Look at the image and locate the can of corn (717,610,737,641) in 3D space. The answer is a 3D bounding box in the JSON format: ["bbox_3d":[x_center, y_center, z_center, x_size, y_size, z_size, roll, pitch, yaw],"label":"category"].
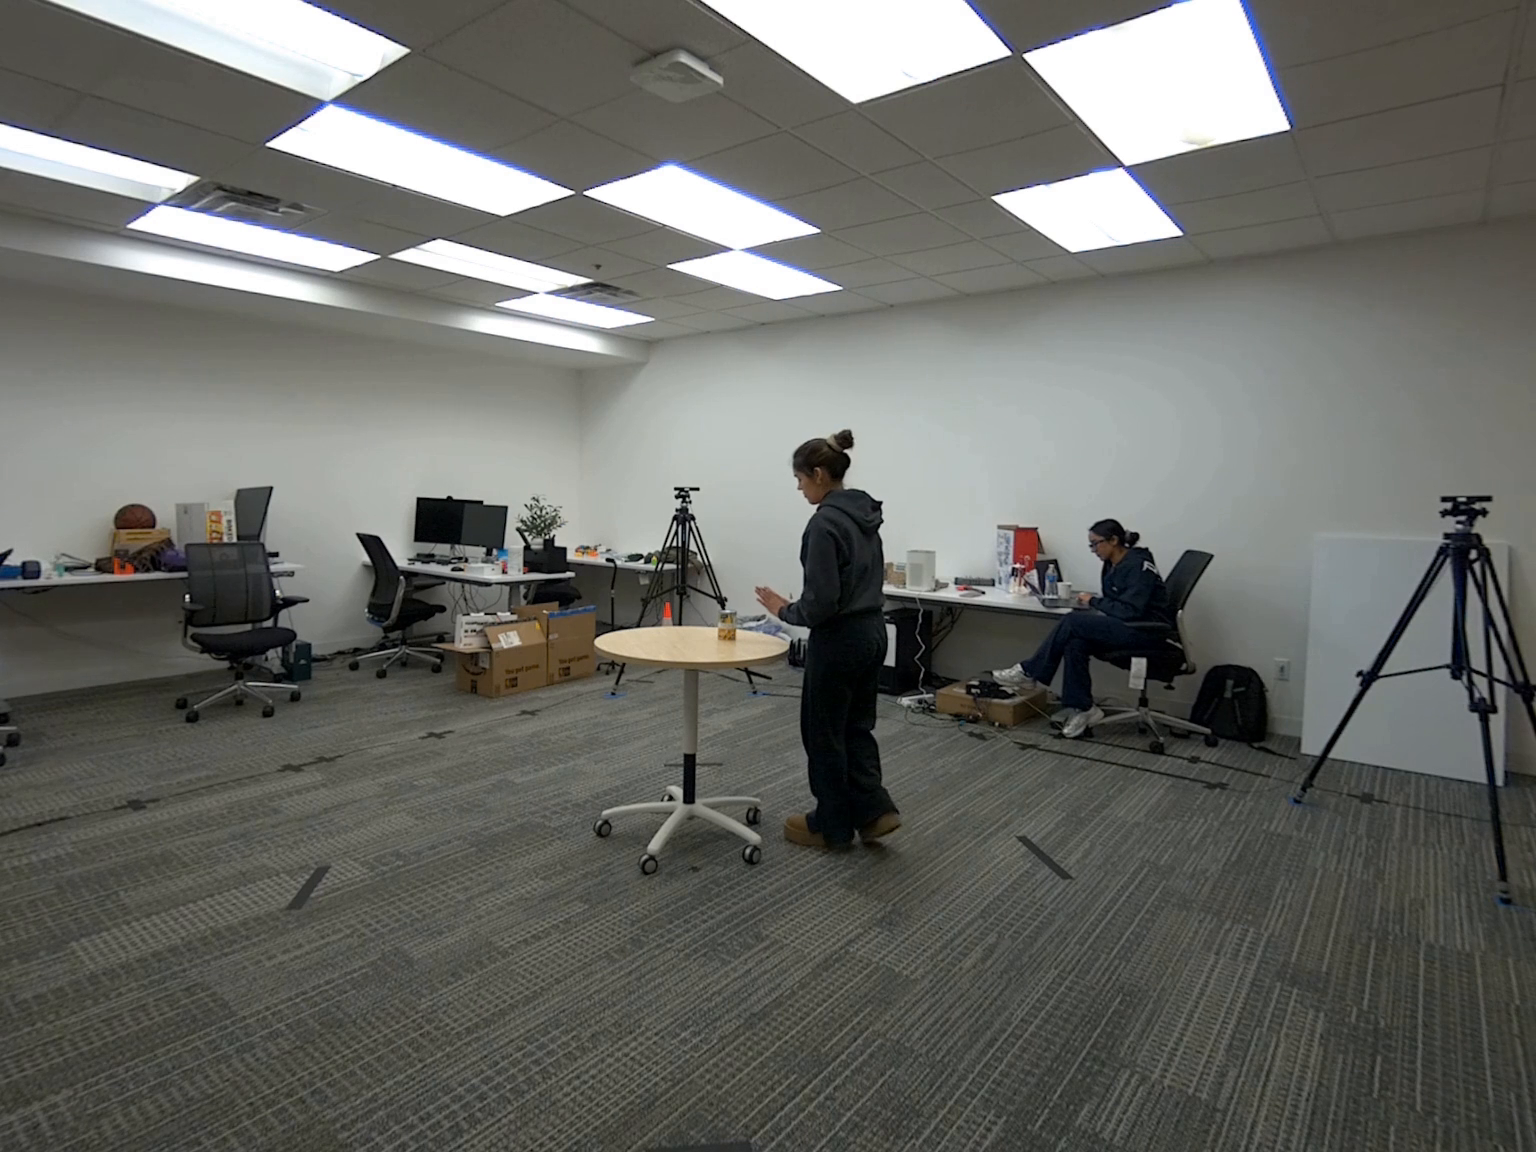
[{"bbox_3d":[-0.171,0.194,3.452,0.074,0.111,0.074,1,0,-2],"label":"can of corn"}]
